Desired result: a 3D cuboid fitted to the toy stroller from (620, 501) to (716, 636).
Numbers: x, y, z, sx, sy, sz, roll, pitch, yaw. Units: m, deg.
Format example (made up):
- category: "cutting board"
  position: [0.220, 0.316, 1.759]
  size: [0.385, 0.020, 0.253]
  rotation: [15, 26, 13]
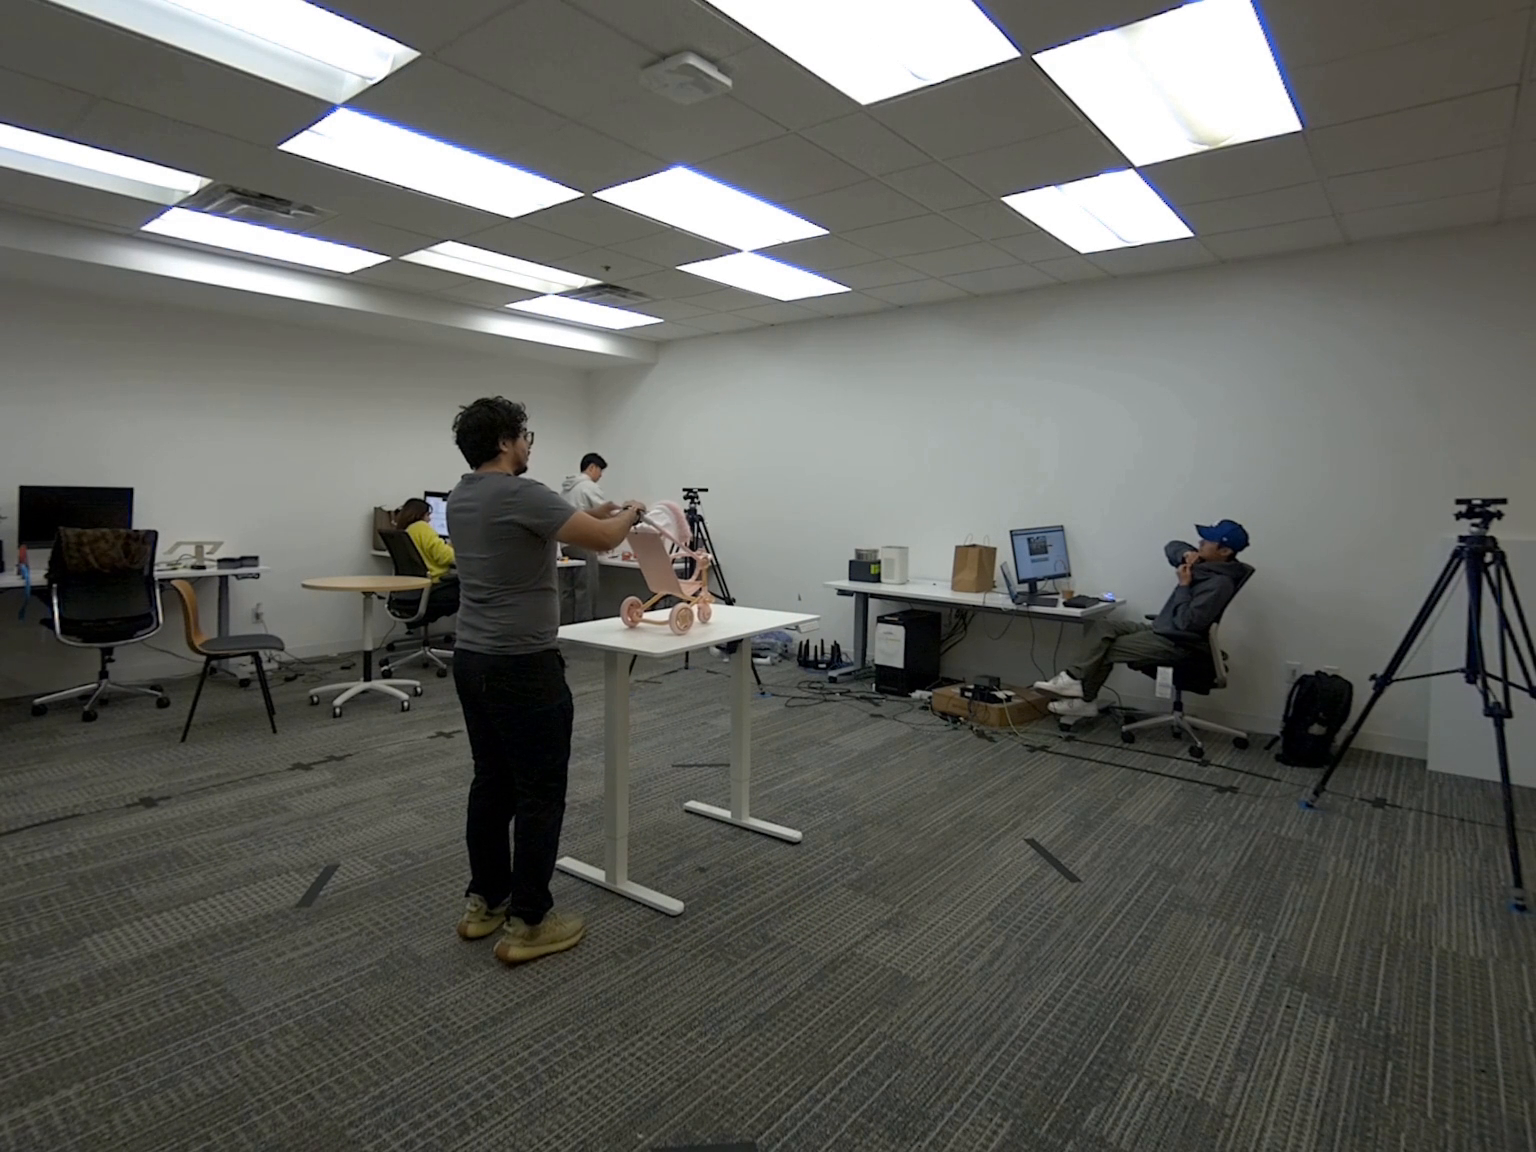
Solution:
- category: "toy stroller"
  position: [-0.367, -0.034, 3.058]
  size: [0.291, 0.526, 0.335]
  rotation: [4, 21, 43]
